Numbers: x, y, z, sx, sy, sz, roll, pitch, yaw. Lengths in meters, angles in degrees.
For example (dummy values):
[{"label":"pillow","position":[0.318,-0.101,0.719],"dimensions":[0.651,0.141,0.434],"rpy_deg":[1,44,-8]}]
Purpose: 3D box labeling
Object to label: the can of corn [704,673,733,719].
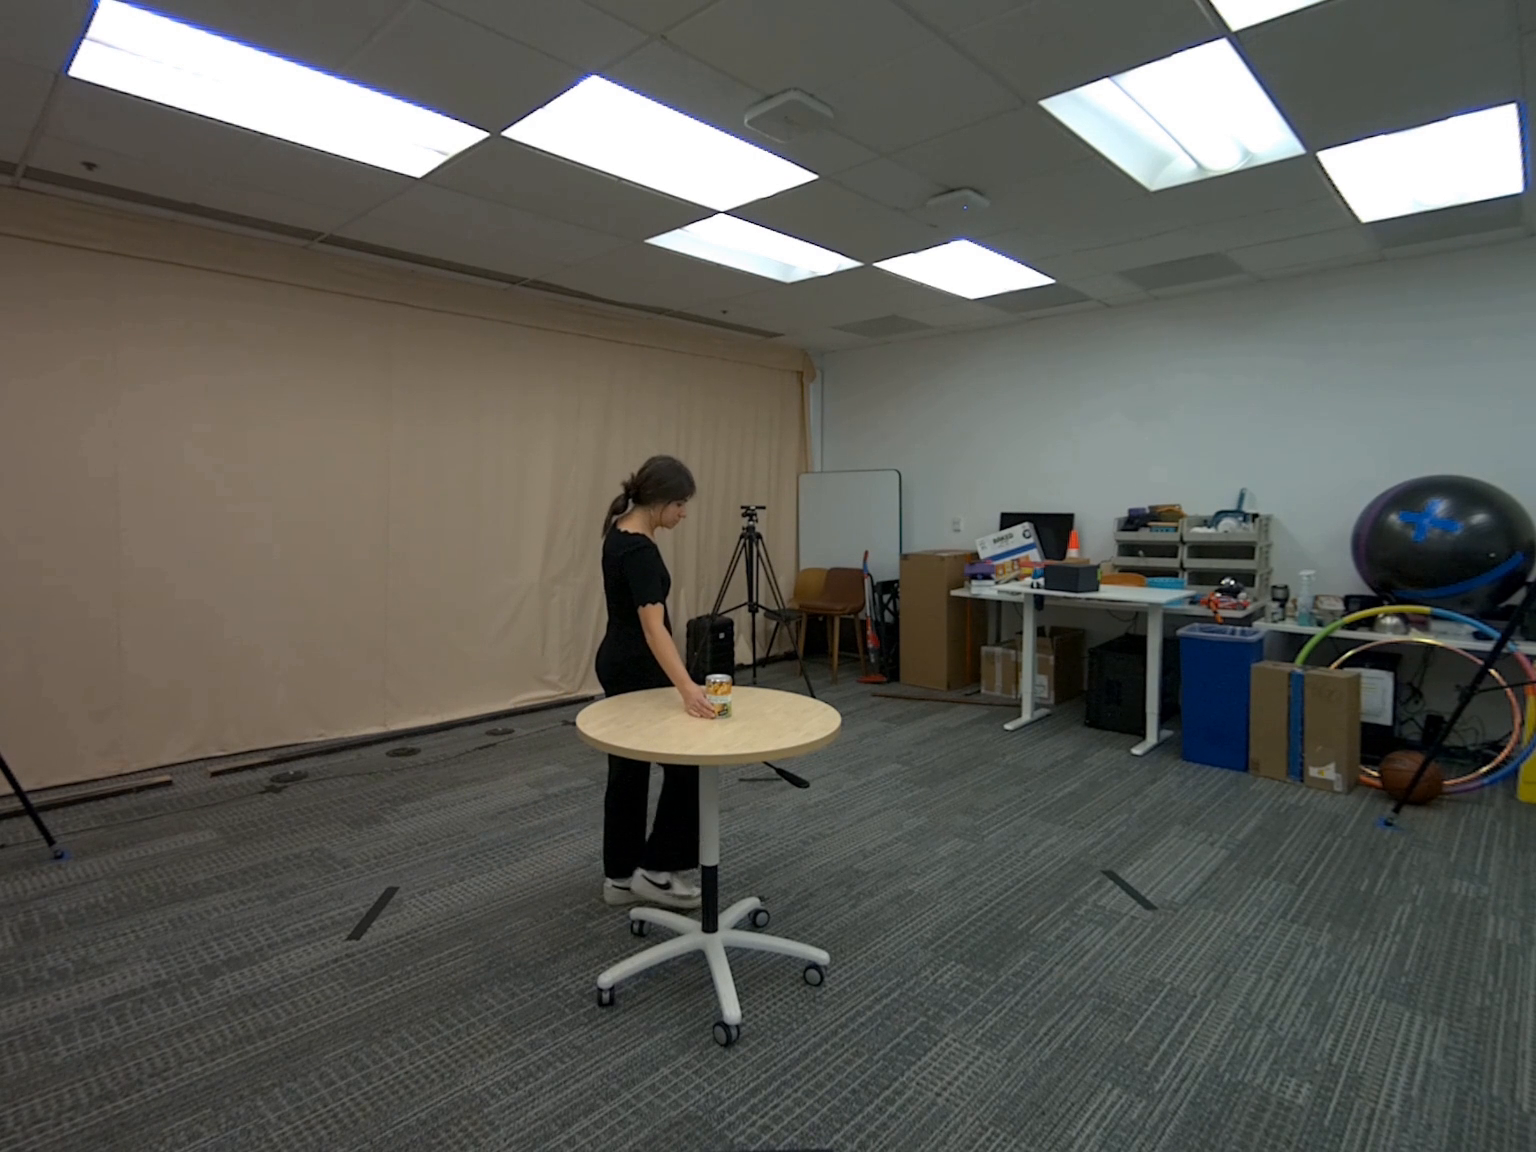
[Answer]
[{"label":"can of corn","position":[-0.138,0.350,2.438],"dimensions":[0.074,0.111,0.074],"rpy_deg":[-4,2,-2]}]
